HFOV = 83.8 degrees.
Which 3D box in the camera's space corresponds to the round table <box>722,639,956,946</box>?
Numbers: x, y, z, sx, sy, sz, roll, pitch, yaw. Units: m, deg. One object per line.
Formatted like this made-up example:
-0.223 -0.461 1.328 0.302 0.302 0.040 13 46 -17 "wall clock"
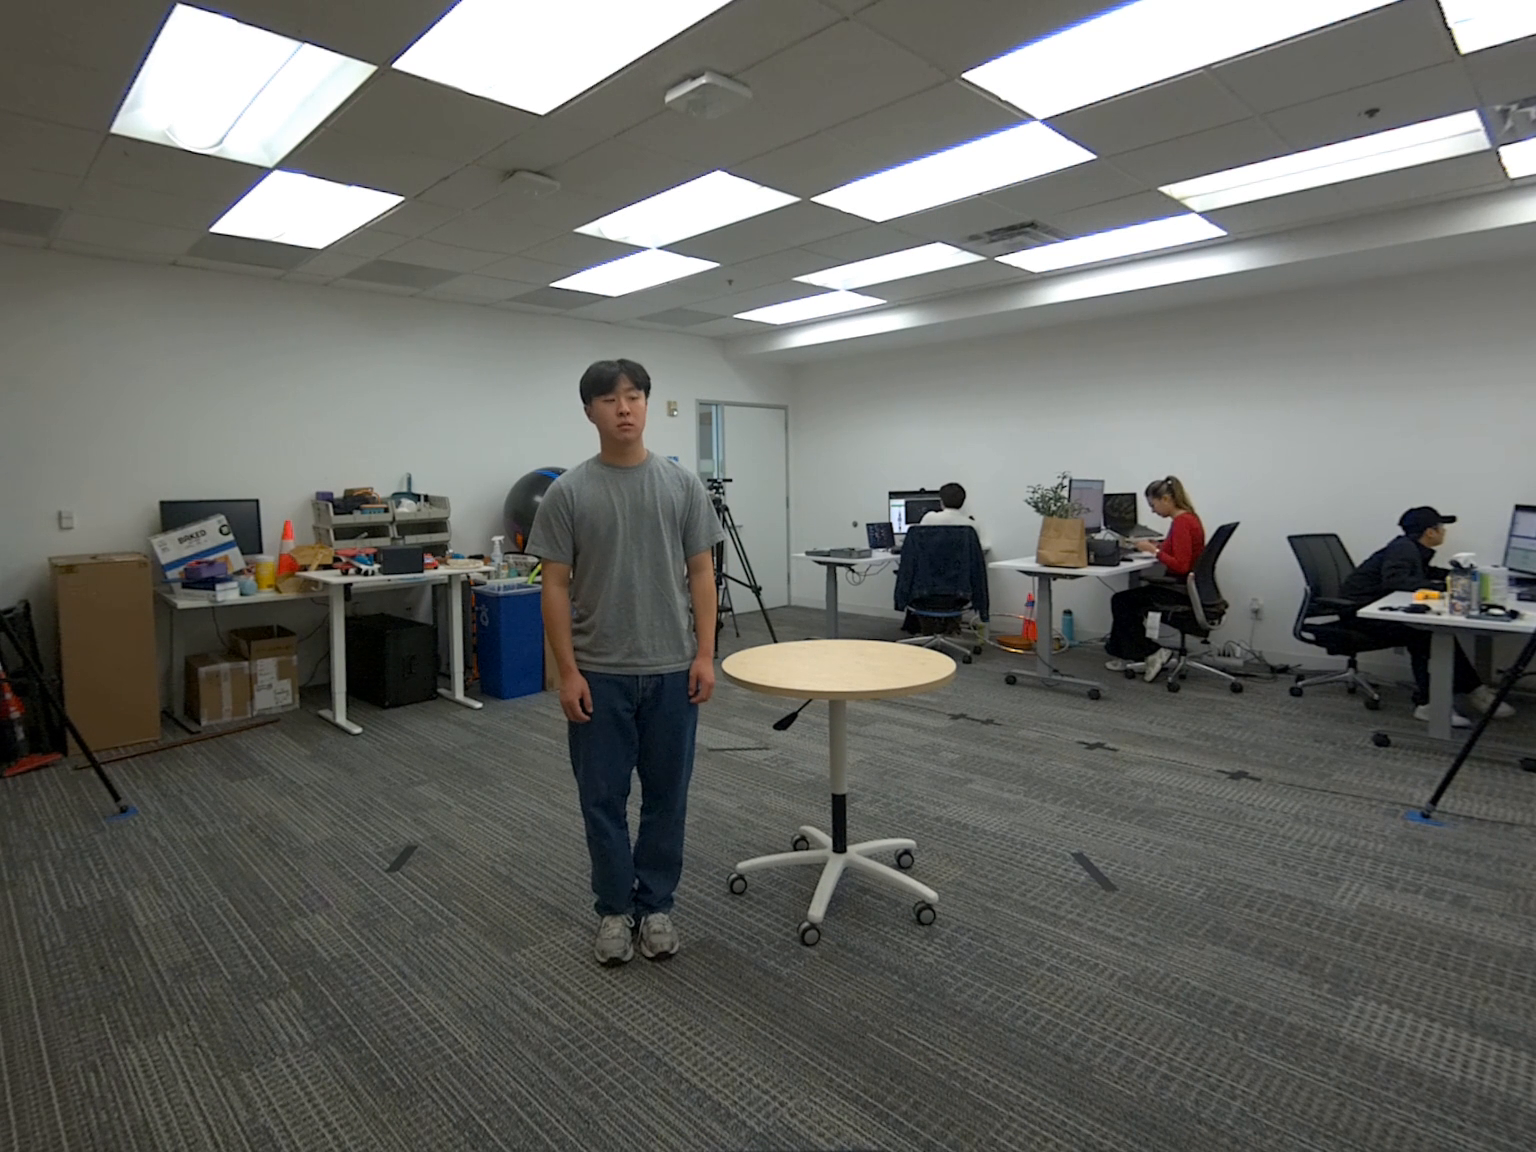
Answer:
0.234 0.679 2.865 0.763 0.791 0.768 -1 5 -2 "round table"
